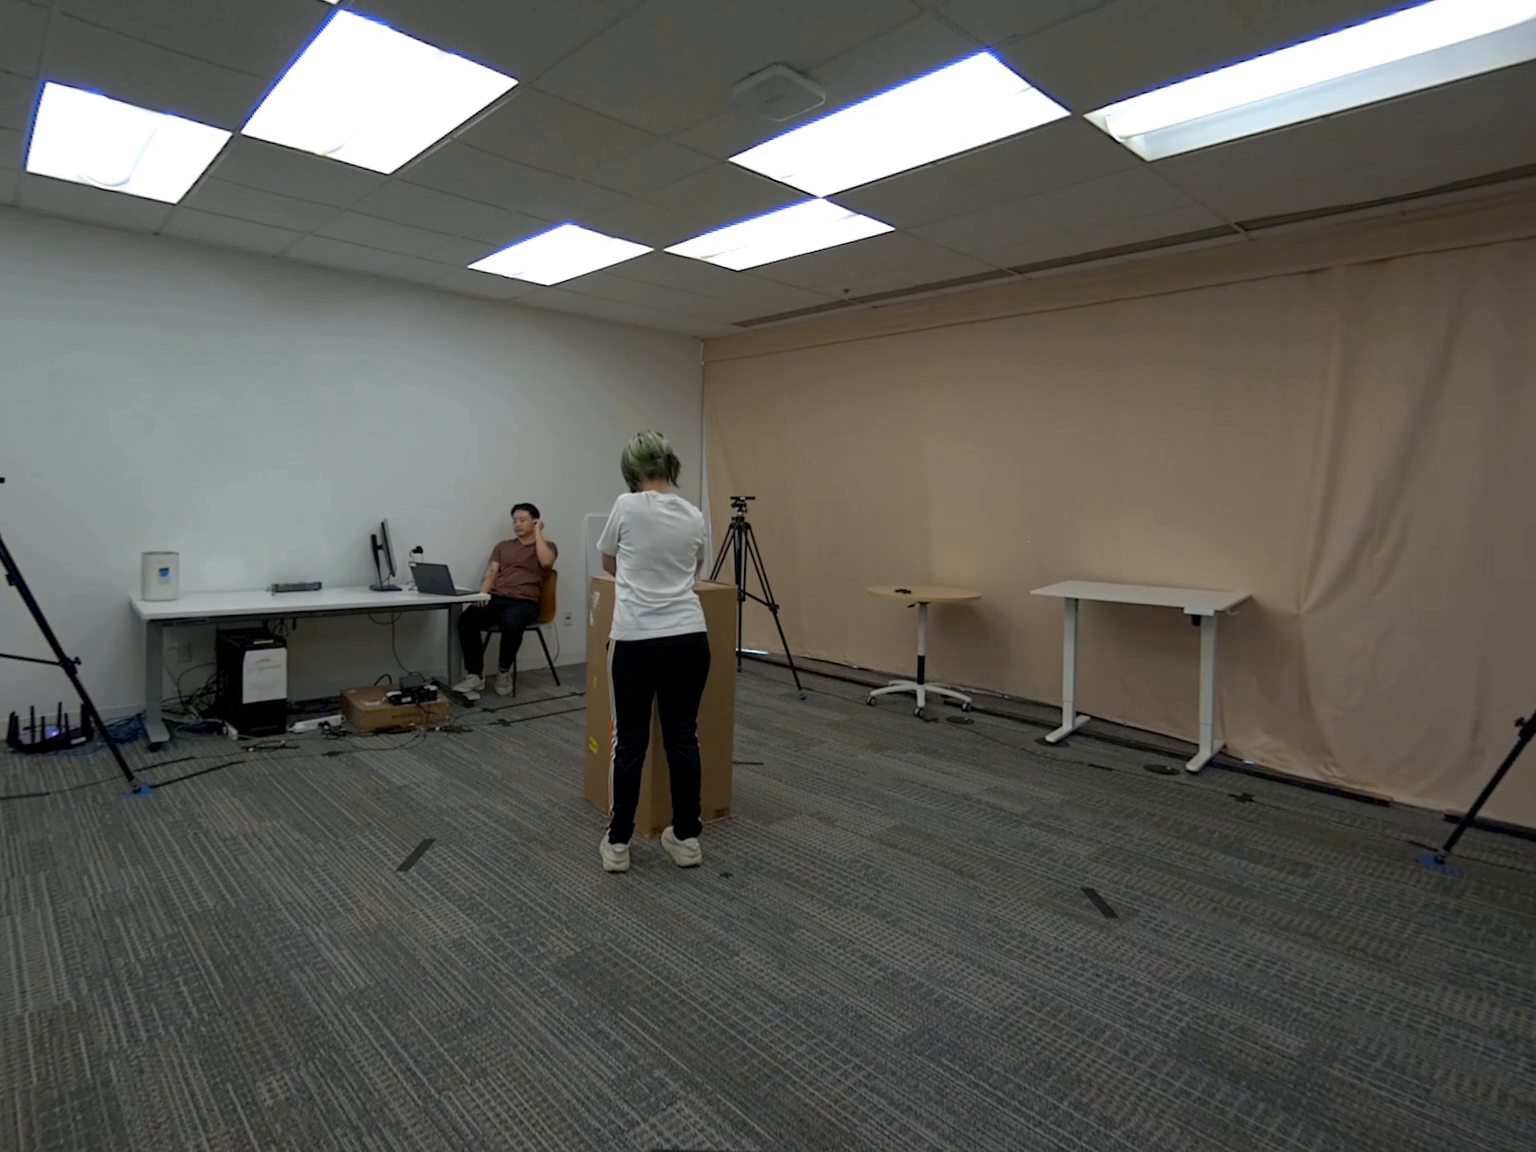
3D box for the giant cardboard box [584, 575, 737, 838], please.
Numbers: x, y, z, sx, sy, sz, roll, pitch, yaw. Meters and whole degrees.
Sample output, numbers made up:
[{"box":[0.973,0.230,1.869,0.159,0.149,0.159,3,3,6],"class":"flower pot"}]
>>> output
[{"box":[-0.498,0.537,3.745,0.436,1.024,0.599,0,5,-40],"class":"giant cardboard box"}]
